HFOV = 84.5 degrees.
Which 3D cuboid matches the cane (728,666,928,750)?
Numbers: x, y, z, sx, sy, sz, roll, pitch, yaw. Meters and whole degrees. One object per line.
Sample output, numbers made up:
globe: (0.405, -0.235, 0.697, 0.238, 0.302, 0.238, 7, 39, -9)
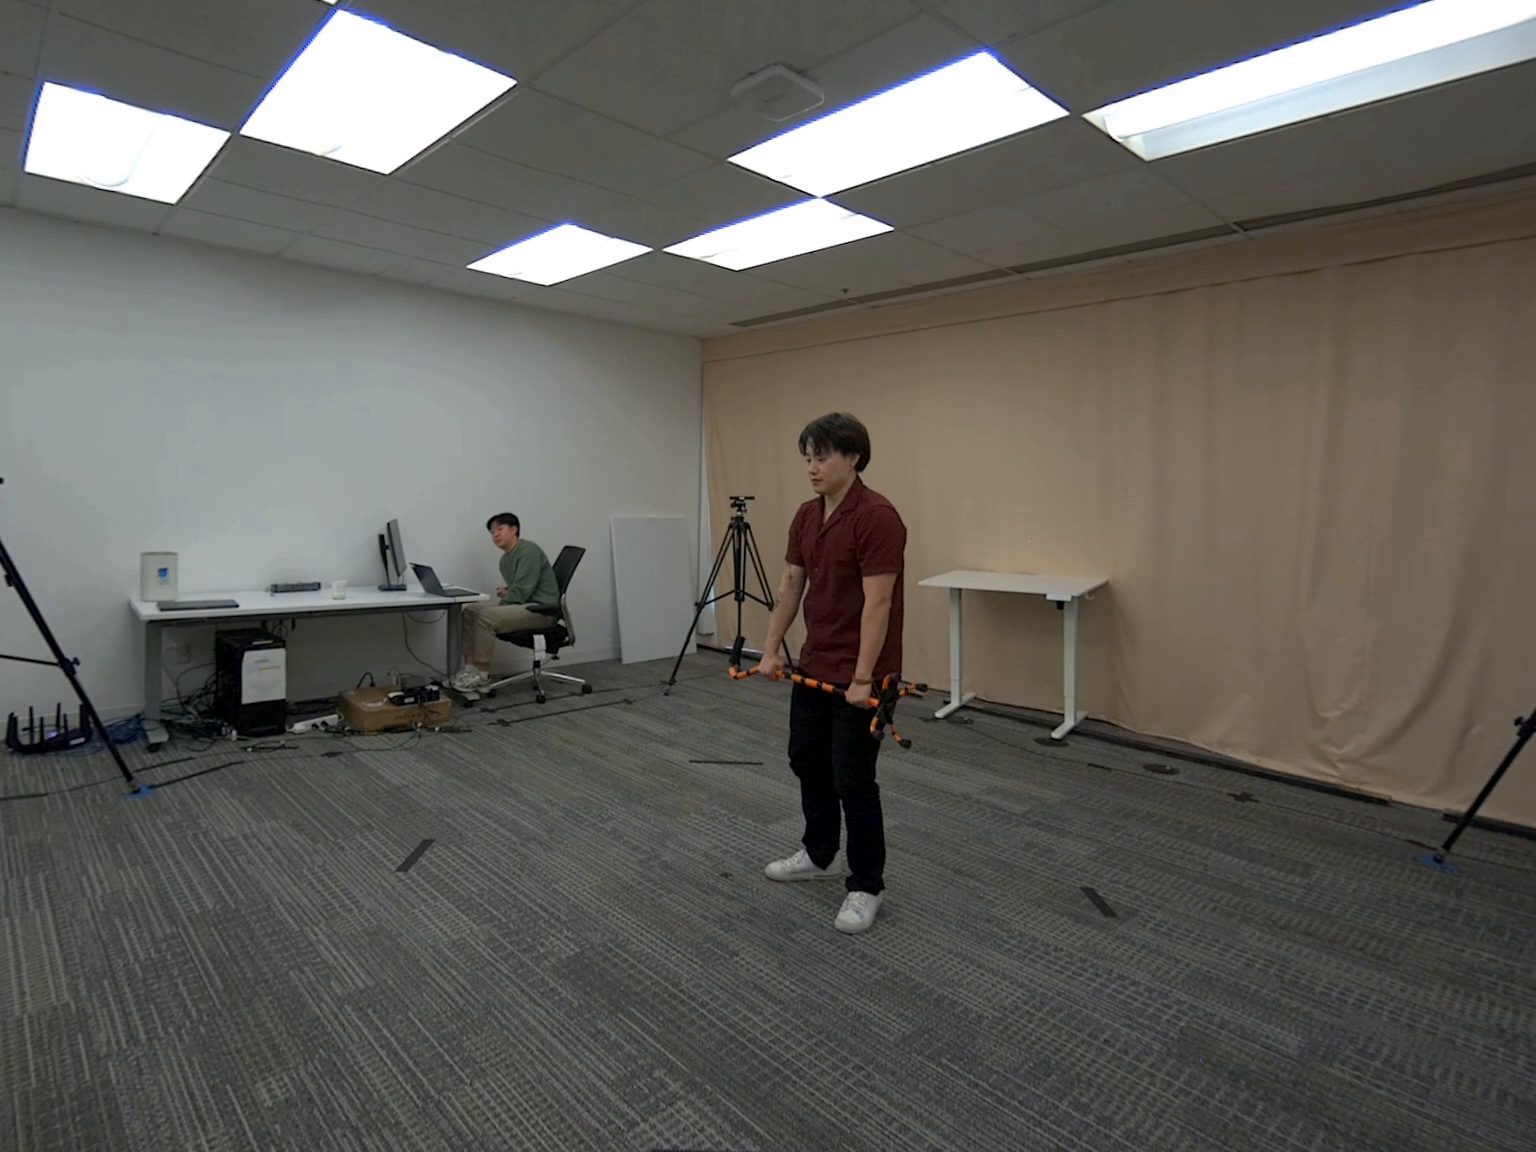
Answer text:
cane: (0.110, 0.363, 2.888, 0.147, 0.207, 0.930, 24, -9, -34)
